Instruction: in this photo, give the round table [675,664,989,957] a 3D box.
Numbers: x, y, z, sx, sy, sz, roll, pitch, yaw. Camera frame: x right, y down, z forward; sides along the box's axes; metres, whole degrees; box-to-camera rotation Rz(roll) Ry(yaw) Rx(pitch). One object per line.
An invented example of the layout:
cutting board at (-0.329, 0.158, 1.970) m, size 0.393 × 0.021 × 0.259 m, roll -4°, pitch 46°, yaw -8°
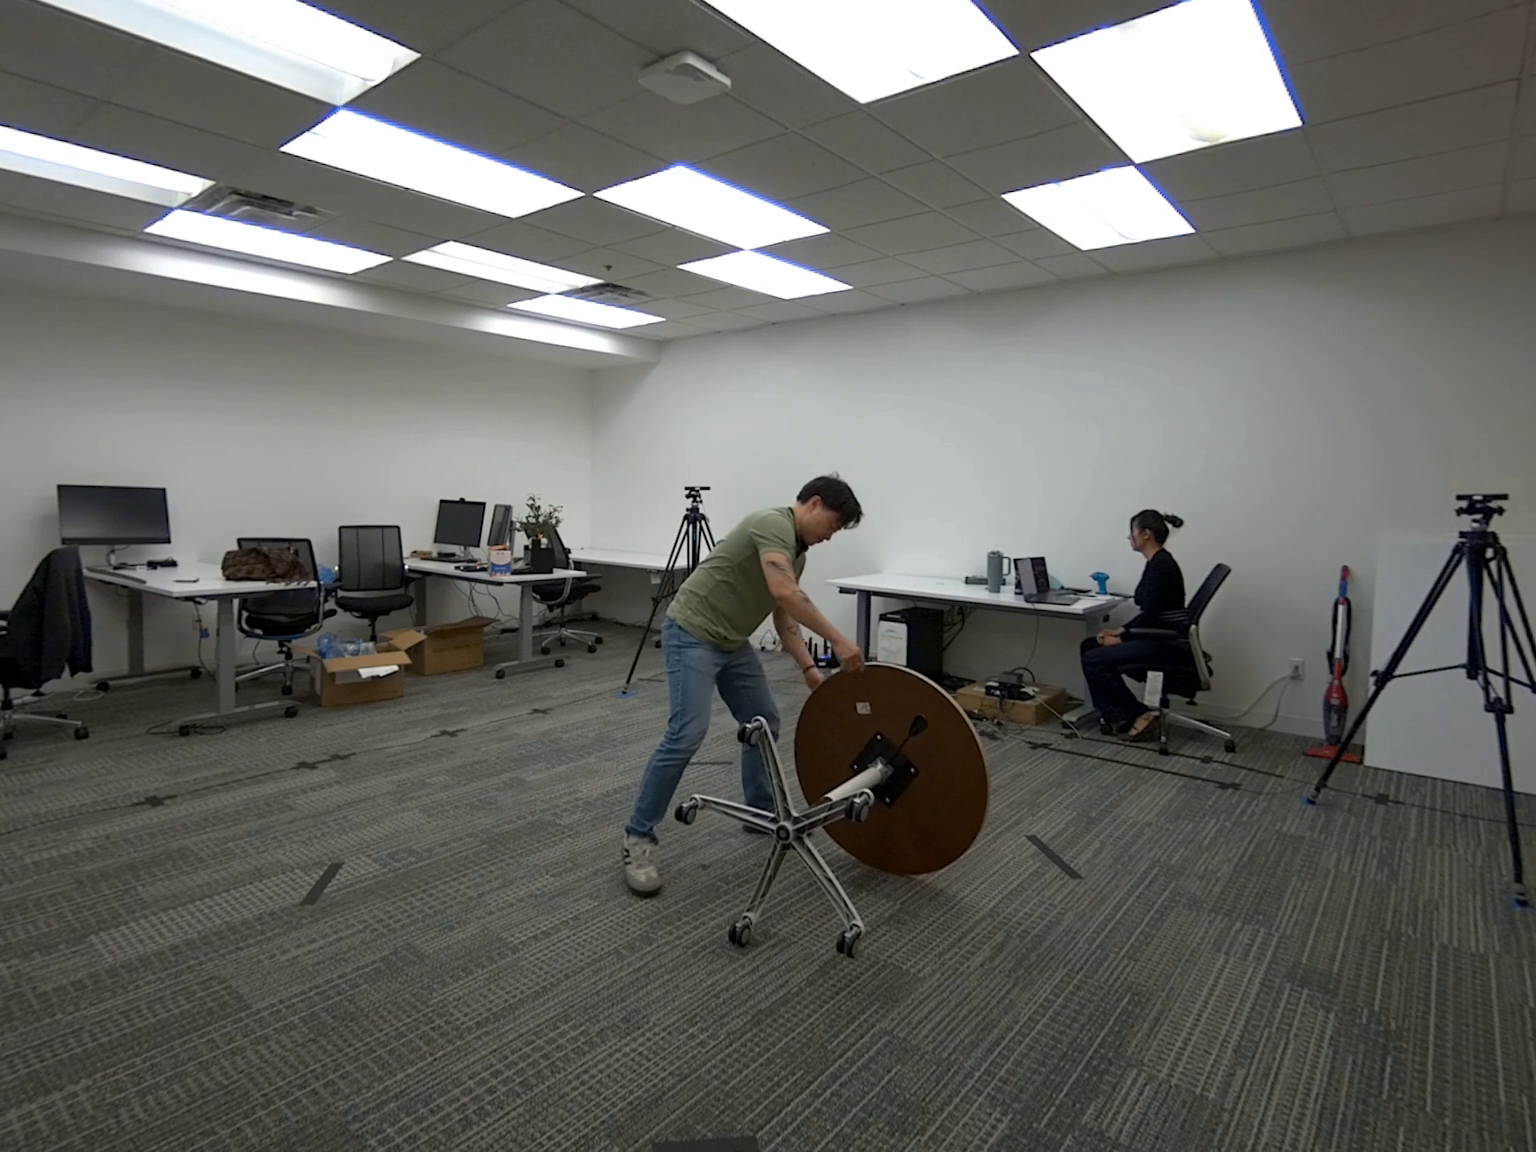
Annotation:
round table at (0.214, 0.740, 2.782) m, size 0.788 × 0.760 × 0.773 m, roll 4°, pitch 8°, yaw 35°
